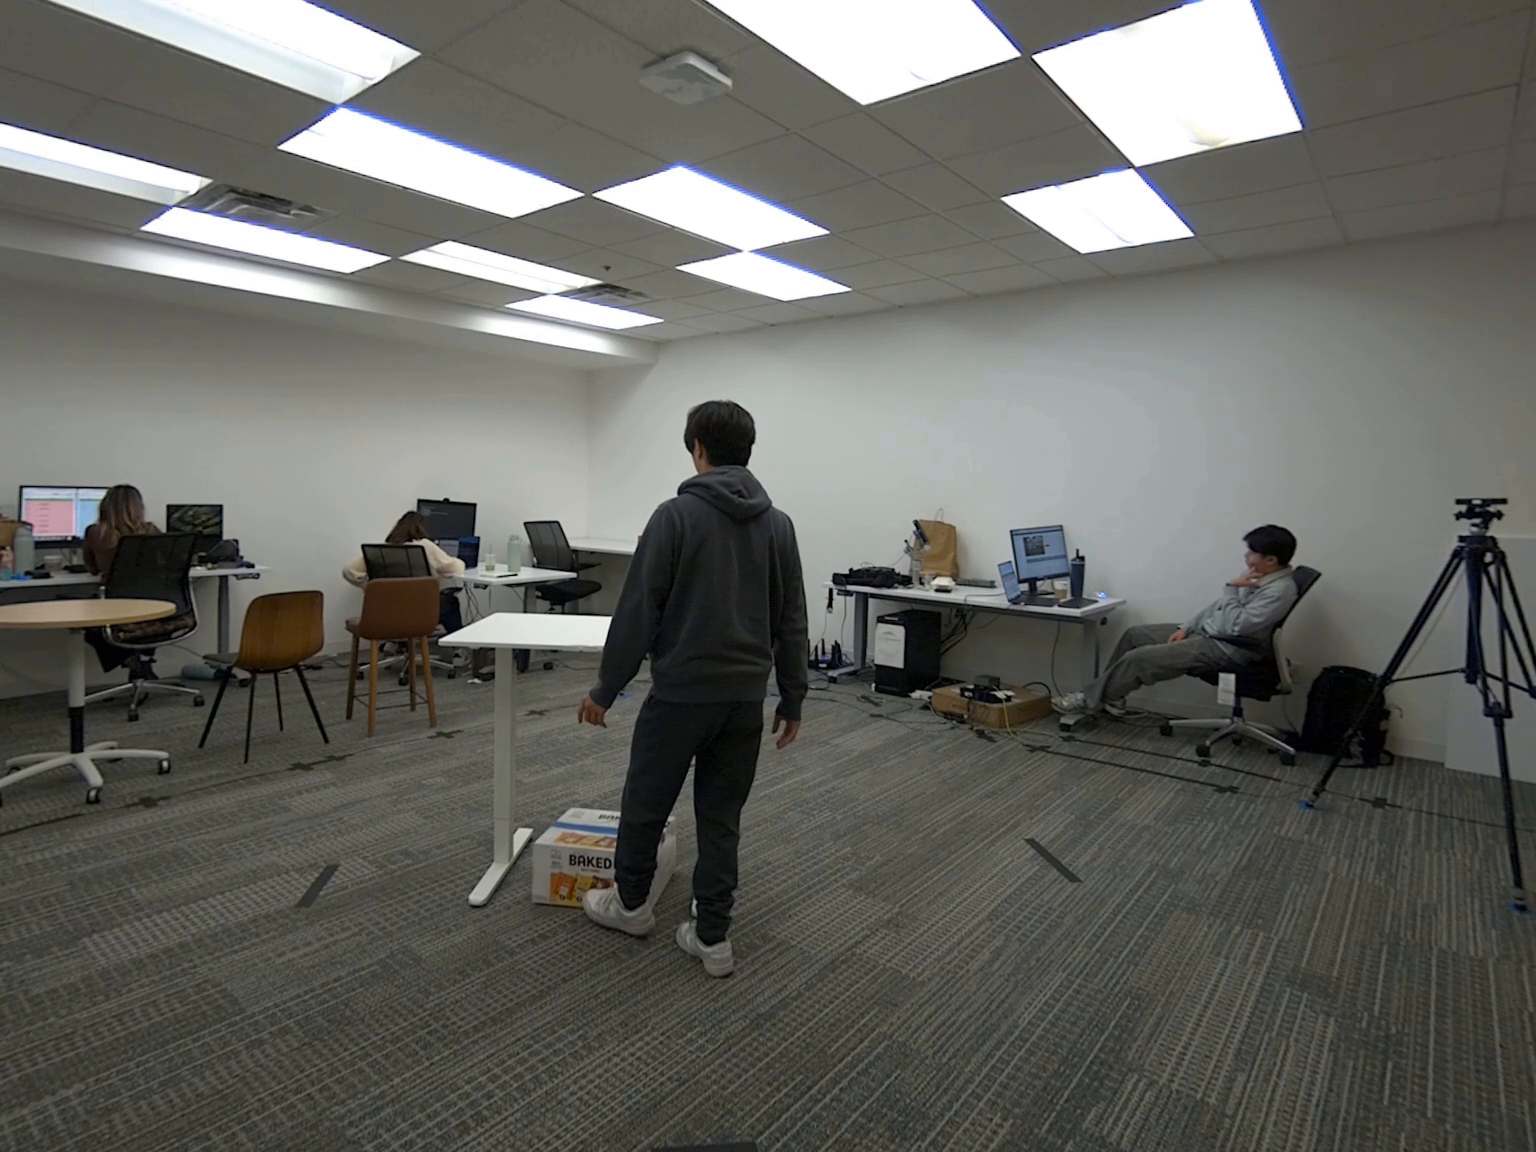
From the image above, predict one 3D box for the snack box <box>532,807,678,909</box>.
[{"bbox_3d":[-0.569,0.977,2.947,0.410,0.205,0.338,2,4,9],"label":"snack box"}]
